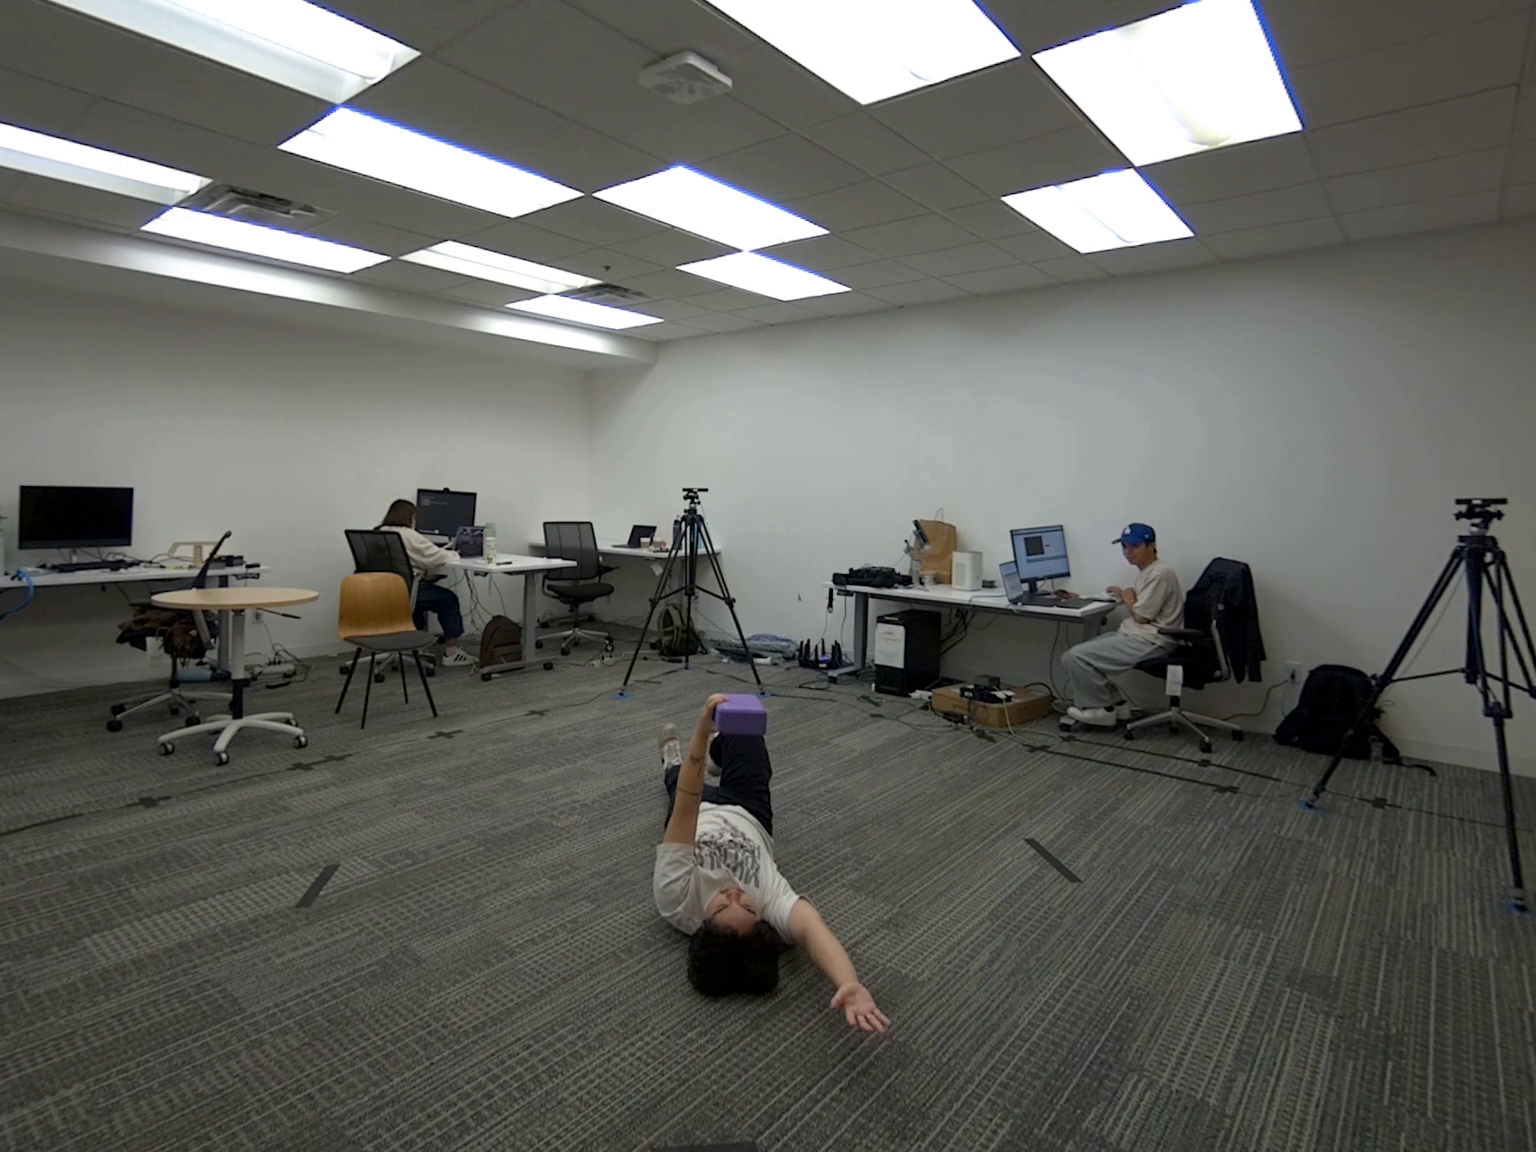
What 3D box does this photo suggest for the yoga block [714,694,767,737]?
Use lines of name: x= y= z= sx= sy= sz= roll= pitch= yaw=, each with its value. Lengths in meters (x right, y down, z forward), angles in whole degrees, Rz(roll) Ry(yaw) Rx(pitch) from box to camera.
yoga block: x=-0.105 y=0.424 z=2.631 sx=0.148 sy=0.076 sz=0.231 roll=3 pitch=2 yaw=-8
